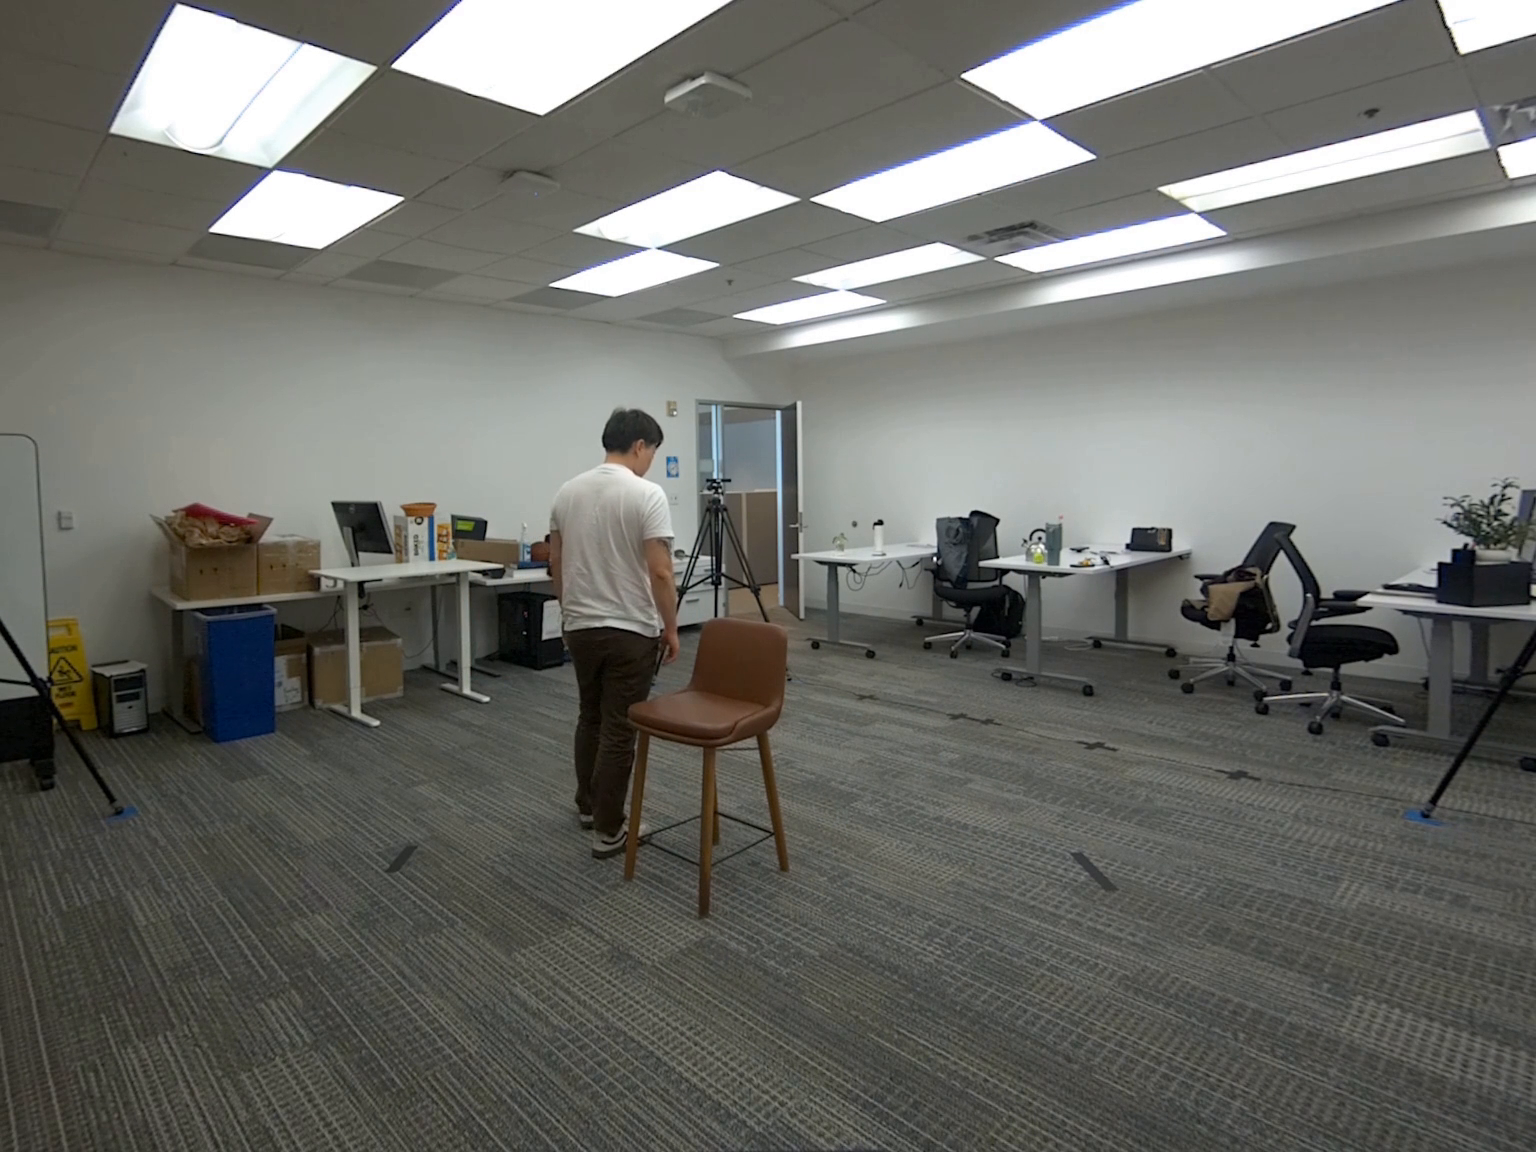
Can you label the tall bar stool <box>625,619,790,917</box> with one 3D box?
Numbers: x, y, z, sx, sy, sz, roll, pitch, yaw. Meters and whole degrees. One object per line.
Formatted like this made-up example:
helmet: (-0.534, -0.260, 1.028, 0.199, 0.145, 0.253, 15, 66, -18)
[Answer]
tall bar stool: (-0.209, 0.623, 2.994, 0.470, 0.887, 0.454, 4, 4, 42)
